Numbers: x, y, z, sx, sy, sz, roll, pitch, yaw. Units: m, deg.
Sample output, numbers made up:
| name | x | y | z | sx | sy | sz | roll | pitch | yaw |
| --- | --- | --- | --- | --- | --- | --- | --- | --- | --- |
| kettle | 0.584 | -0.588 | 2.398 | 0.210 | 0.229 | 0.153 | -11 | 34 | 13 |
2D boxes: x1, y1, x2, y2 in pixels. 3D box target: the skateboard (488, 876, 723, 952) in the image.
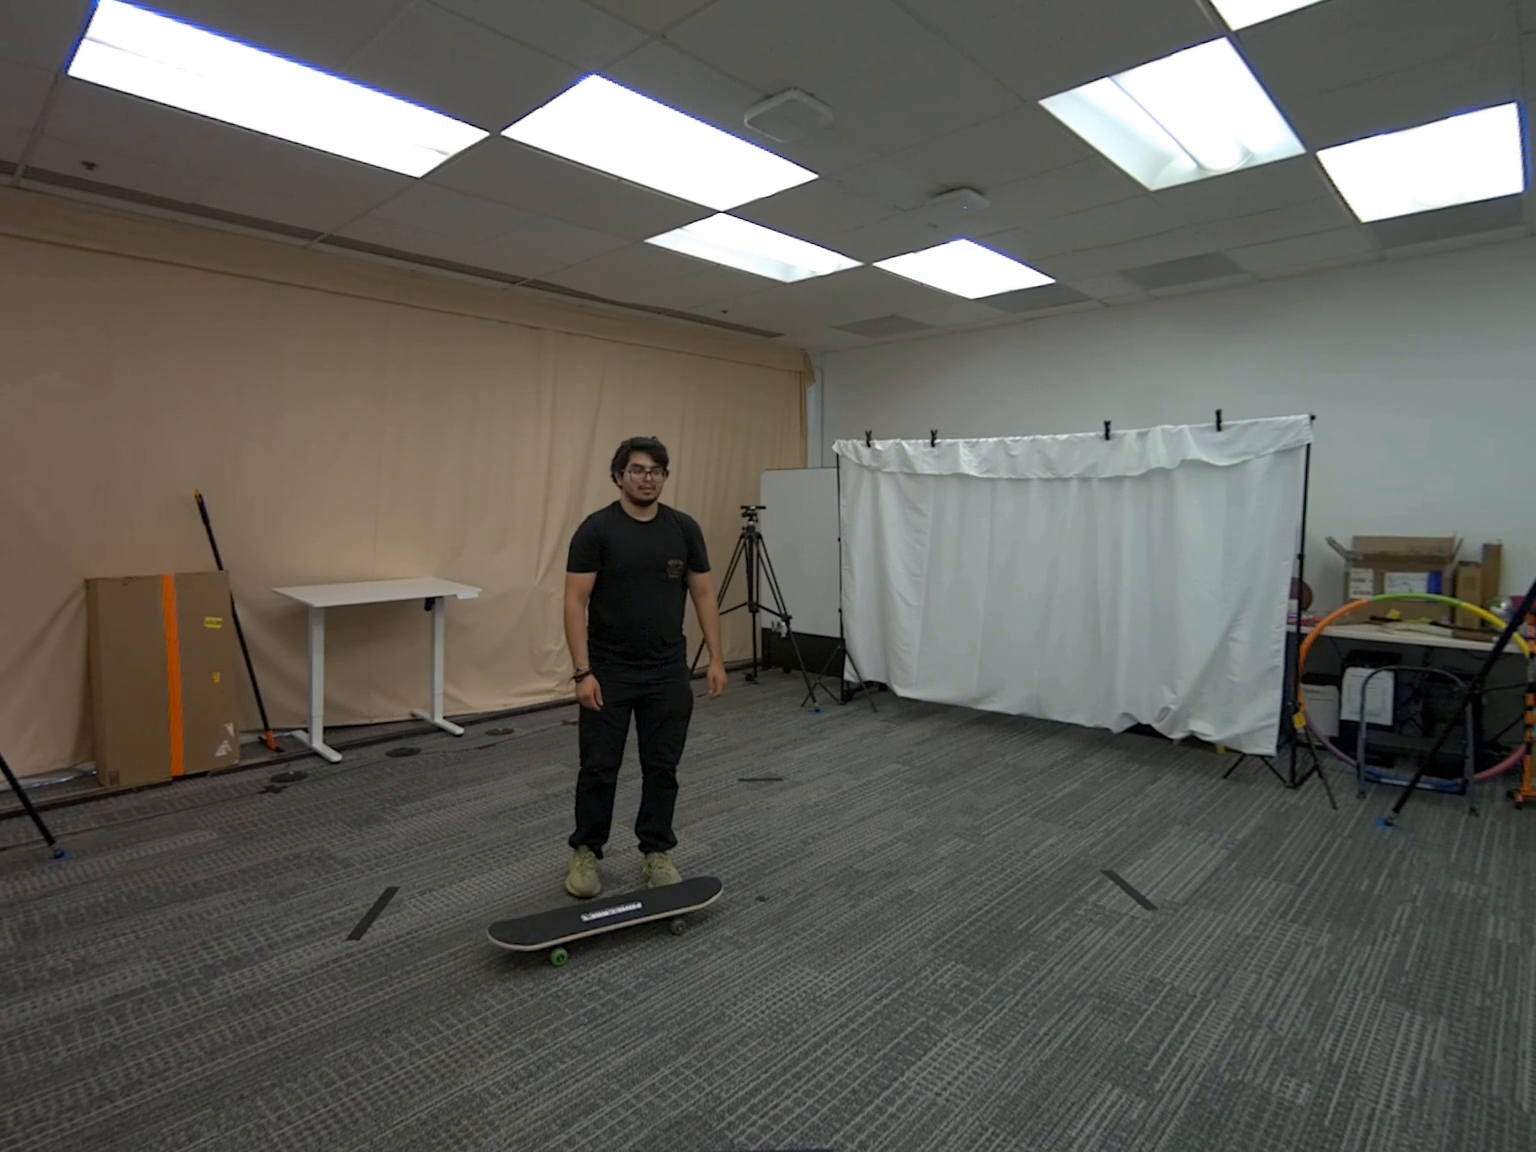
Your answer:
| name | x | y | z | sx | sy | sz | roll | pitch | yaw |
| --- | --- | --- | --- | --- | --- | --- | --- | --- | --- |
| skateboard | -0.501 | 1.108 | 2.714 | 0.766 | 0.110 | 0.199 | -3 | 6 | -27 |
